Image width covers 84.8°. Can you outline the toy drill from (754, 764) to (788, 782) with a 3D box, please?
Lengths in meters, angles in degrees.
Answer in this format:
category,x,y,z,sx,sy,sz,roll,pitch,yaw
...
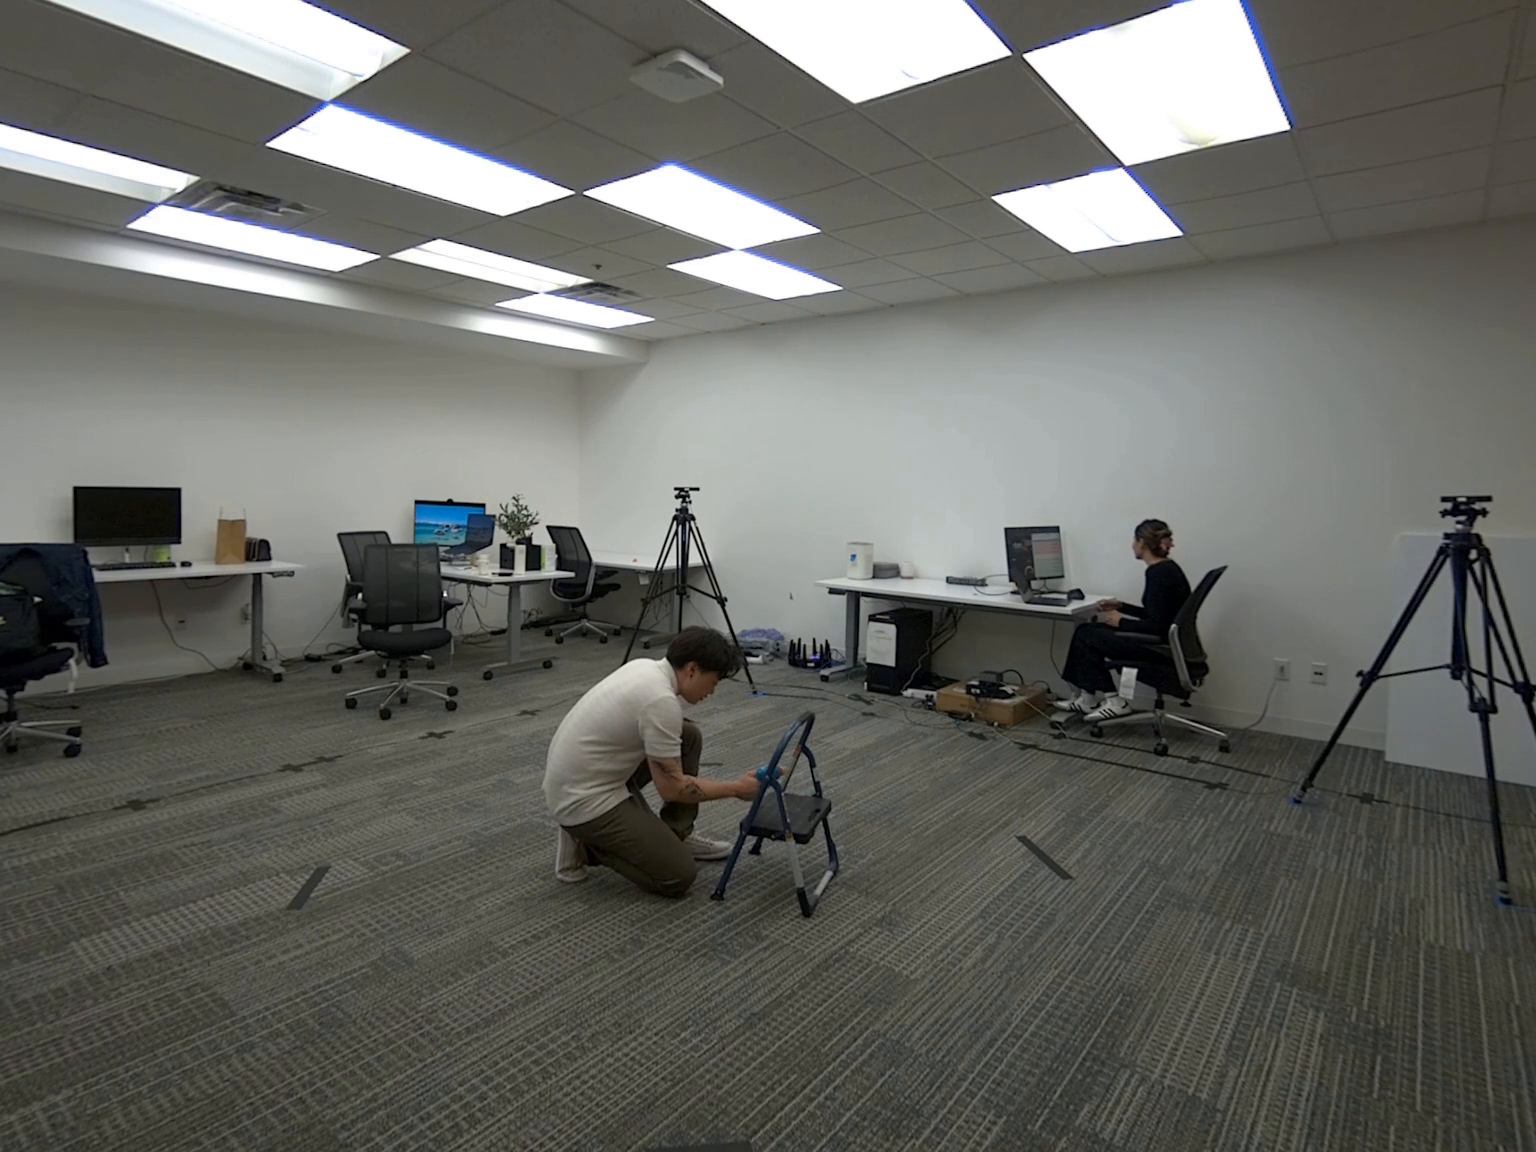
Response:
category,x,y,z,sx,sy,sz,roll,pitch,yaw
toy drill,-0.018,0.724,2.967,0.146,0.063,0.164,-45,-30,24
